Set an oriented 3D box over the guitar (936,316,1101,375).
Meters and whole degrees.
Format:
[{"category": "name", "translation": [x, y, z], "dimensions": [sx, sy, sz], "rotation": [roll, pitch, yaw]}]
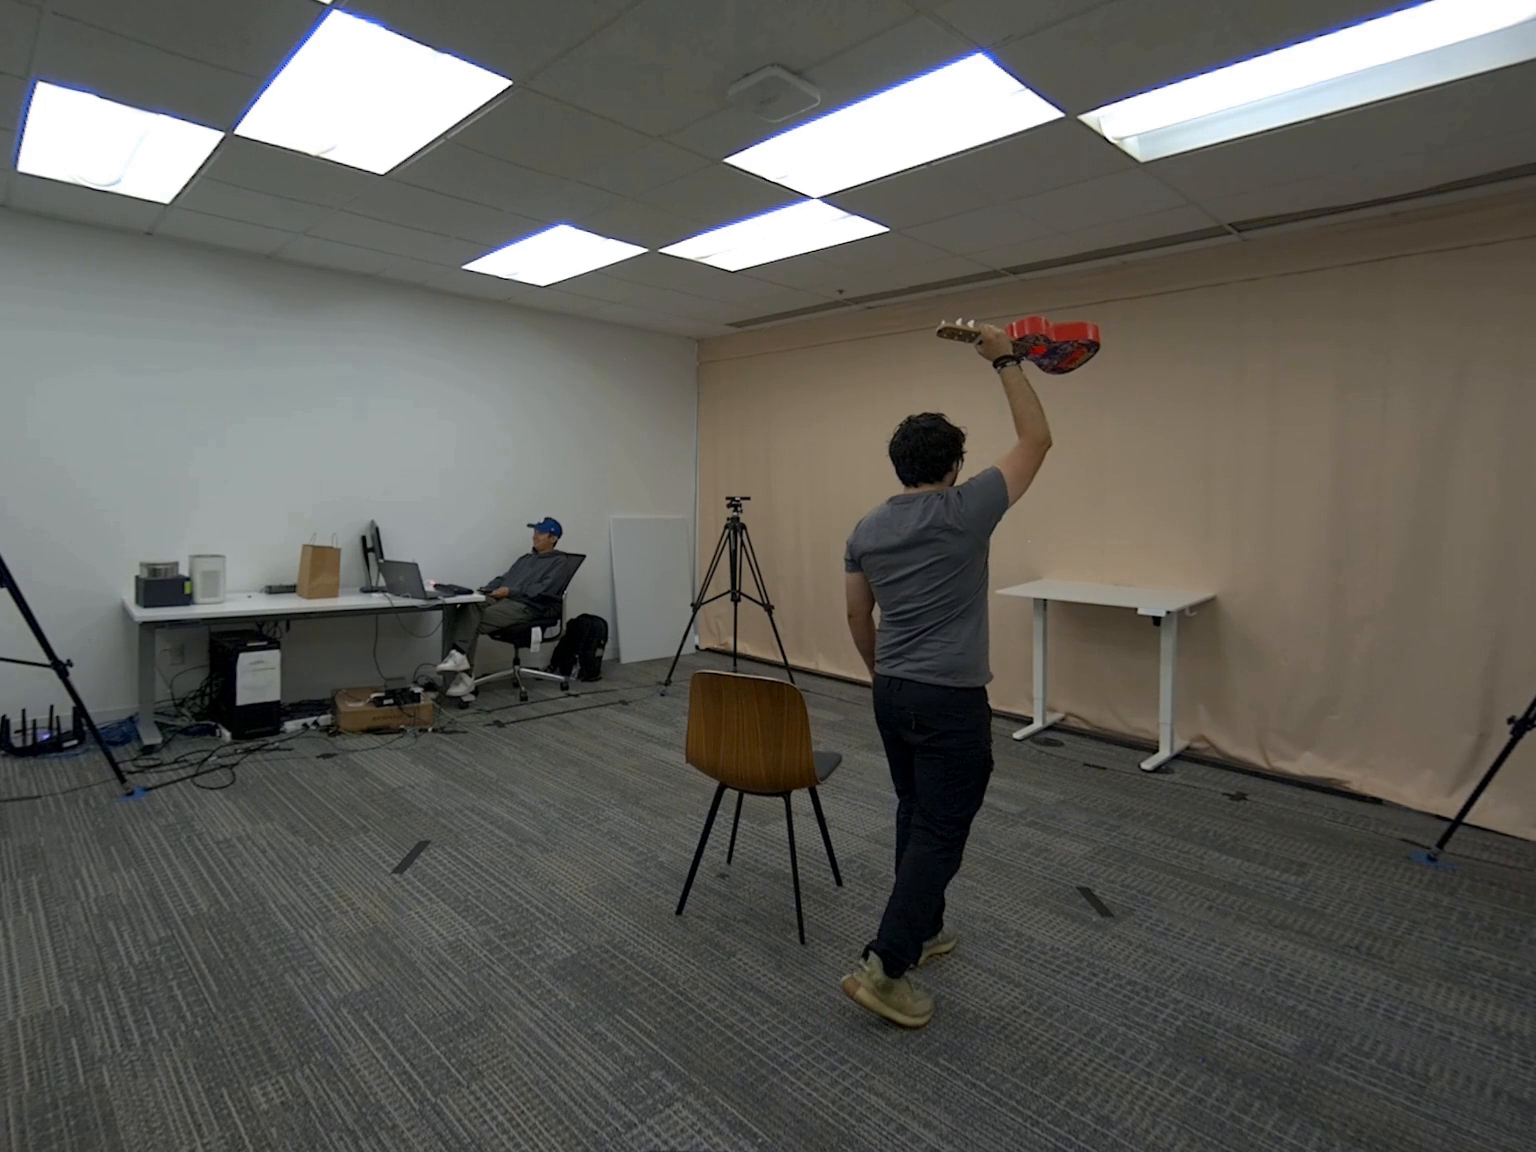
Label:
[{"category": "guitar", "translation": [0.728, -0.696, 2.410], "dimensions": [0.487, 0.071, 0.194], "rotation": [11, -20, -25]}]
